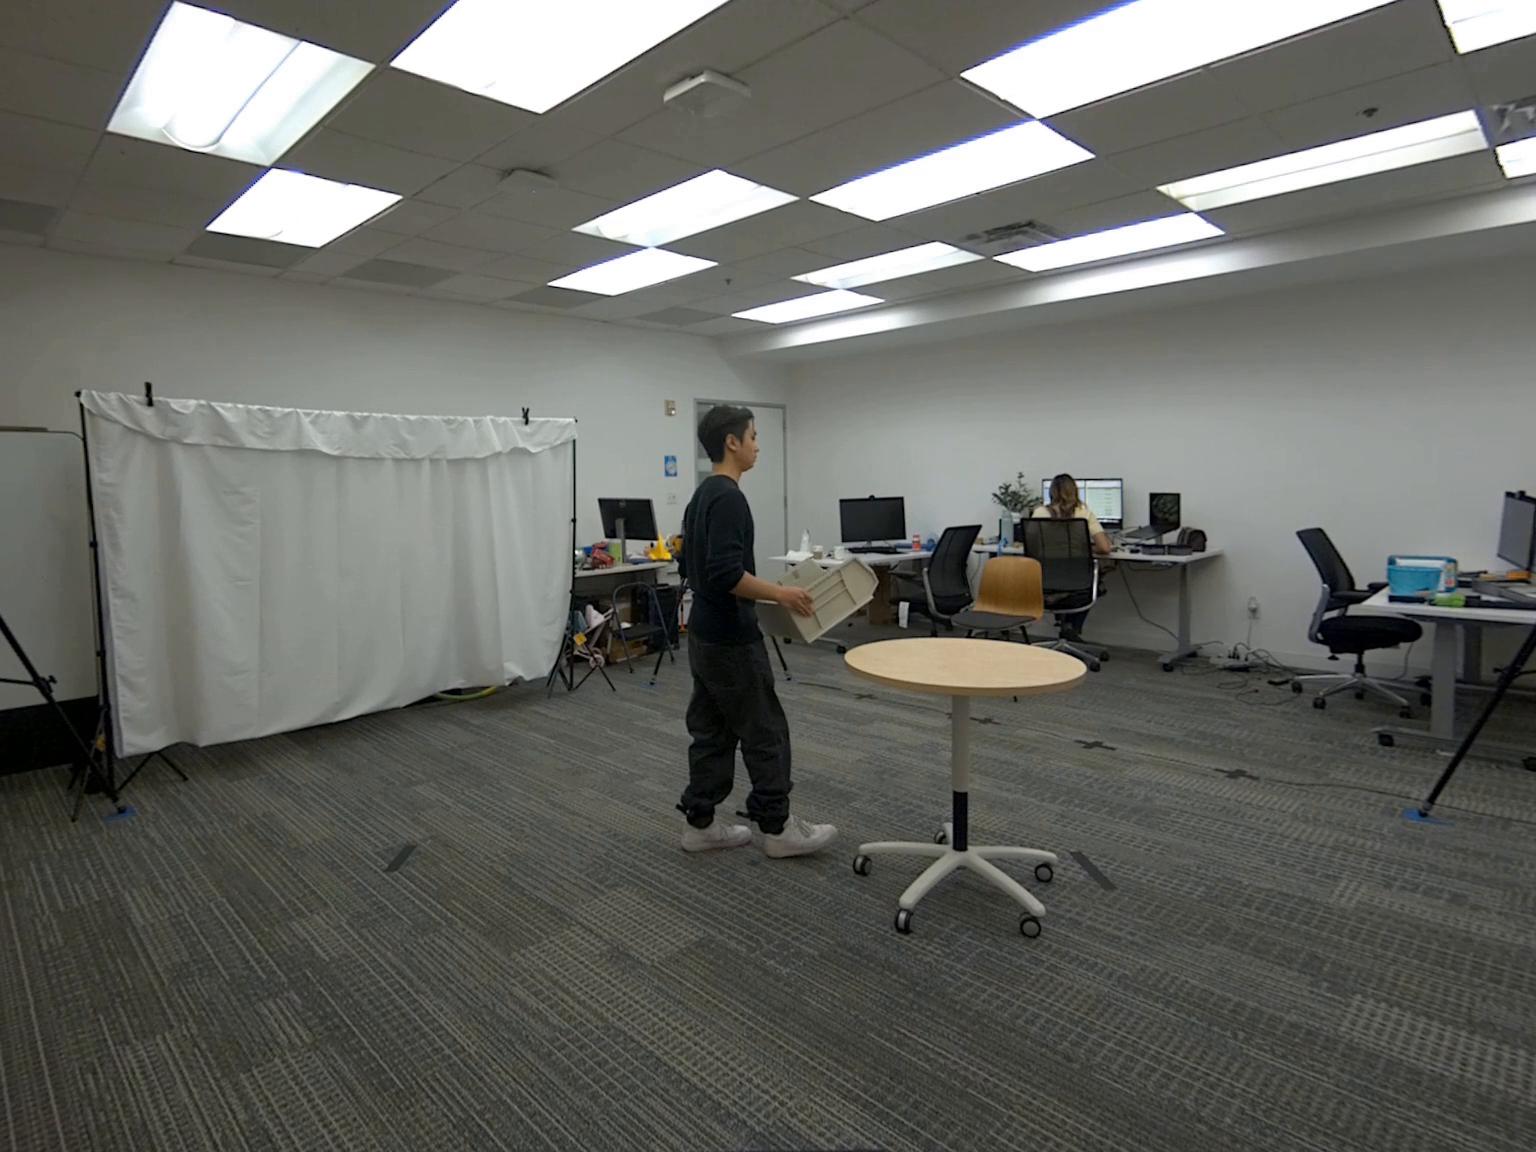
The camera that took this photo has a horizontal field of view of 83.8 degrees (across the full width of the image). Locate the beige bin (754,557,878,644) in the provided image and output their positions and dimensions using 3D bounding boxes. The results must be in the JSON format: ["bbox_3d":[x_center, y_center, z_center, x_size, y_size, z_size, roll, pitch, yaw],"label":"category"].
[{"bbox_3d":[0.171,0.078,3.317,0.375,0.187,0.430,-34,12,-18],"label":"beige bin"}]
